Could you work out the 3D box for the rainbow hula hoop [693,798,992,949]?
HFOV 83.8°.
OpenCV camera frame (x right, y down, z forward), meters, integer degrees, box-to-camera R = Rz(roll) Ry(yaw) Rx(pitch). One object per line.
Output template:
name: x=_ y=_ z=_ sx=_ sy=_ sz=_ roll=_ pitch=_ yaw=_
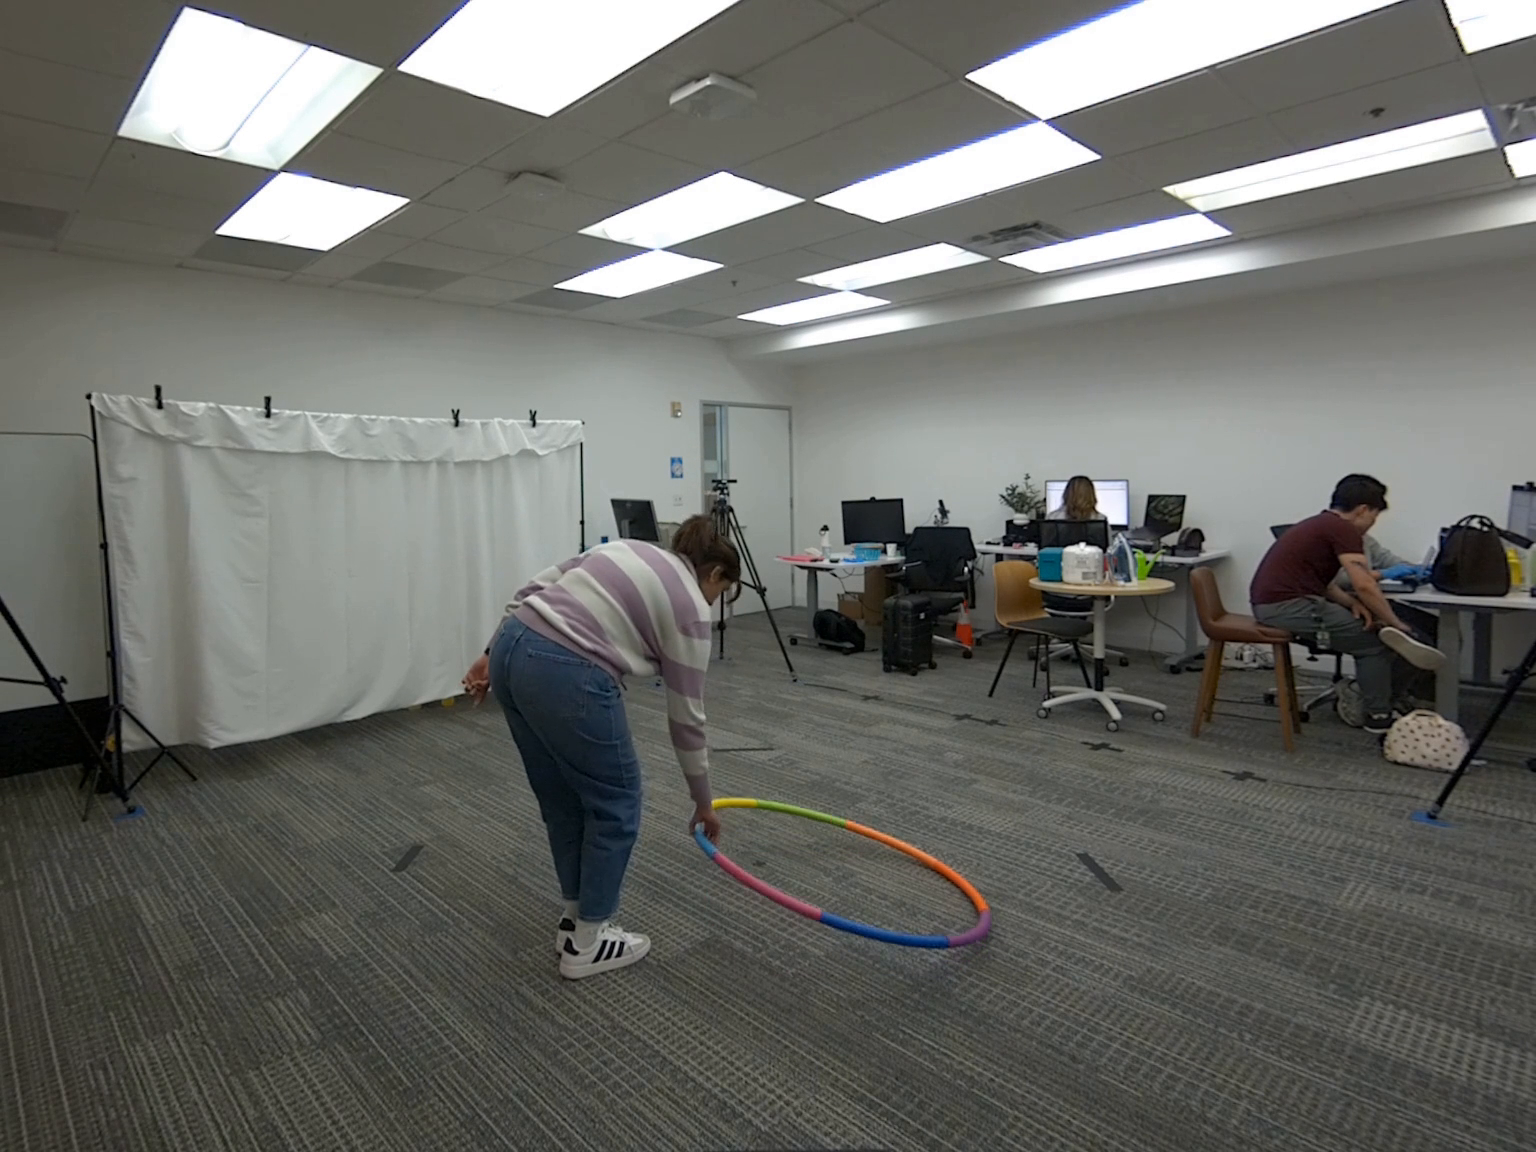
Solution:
rainbow hula hoop: x=0.226 y=0.920 z=2.773 sx=0.985 sy=0.051 sz=0.986 roll=16 pitch=1 yaw=-2
